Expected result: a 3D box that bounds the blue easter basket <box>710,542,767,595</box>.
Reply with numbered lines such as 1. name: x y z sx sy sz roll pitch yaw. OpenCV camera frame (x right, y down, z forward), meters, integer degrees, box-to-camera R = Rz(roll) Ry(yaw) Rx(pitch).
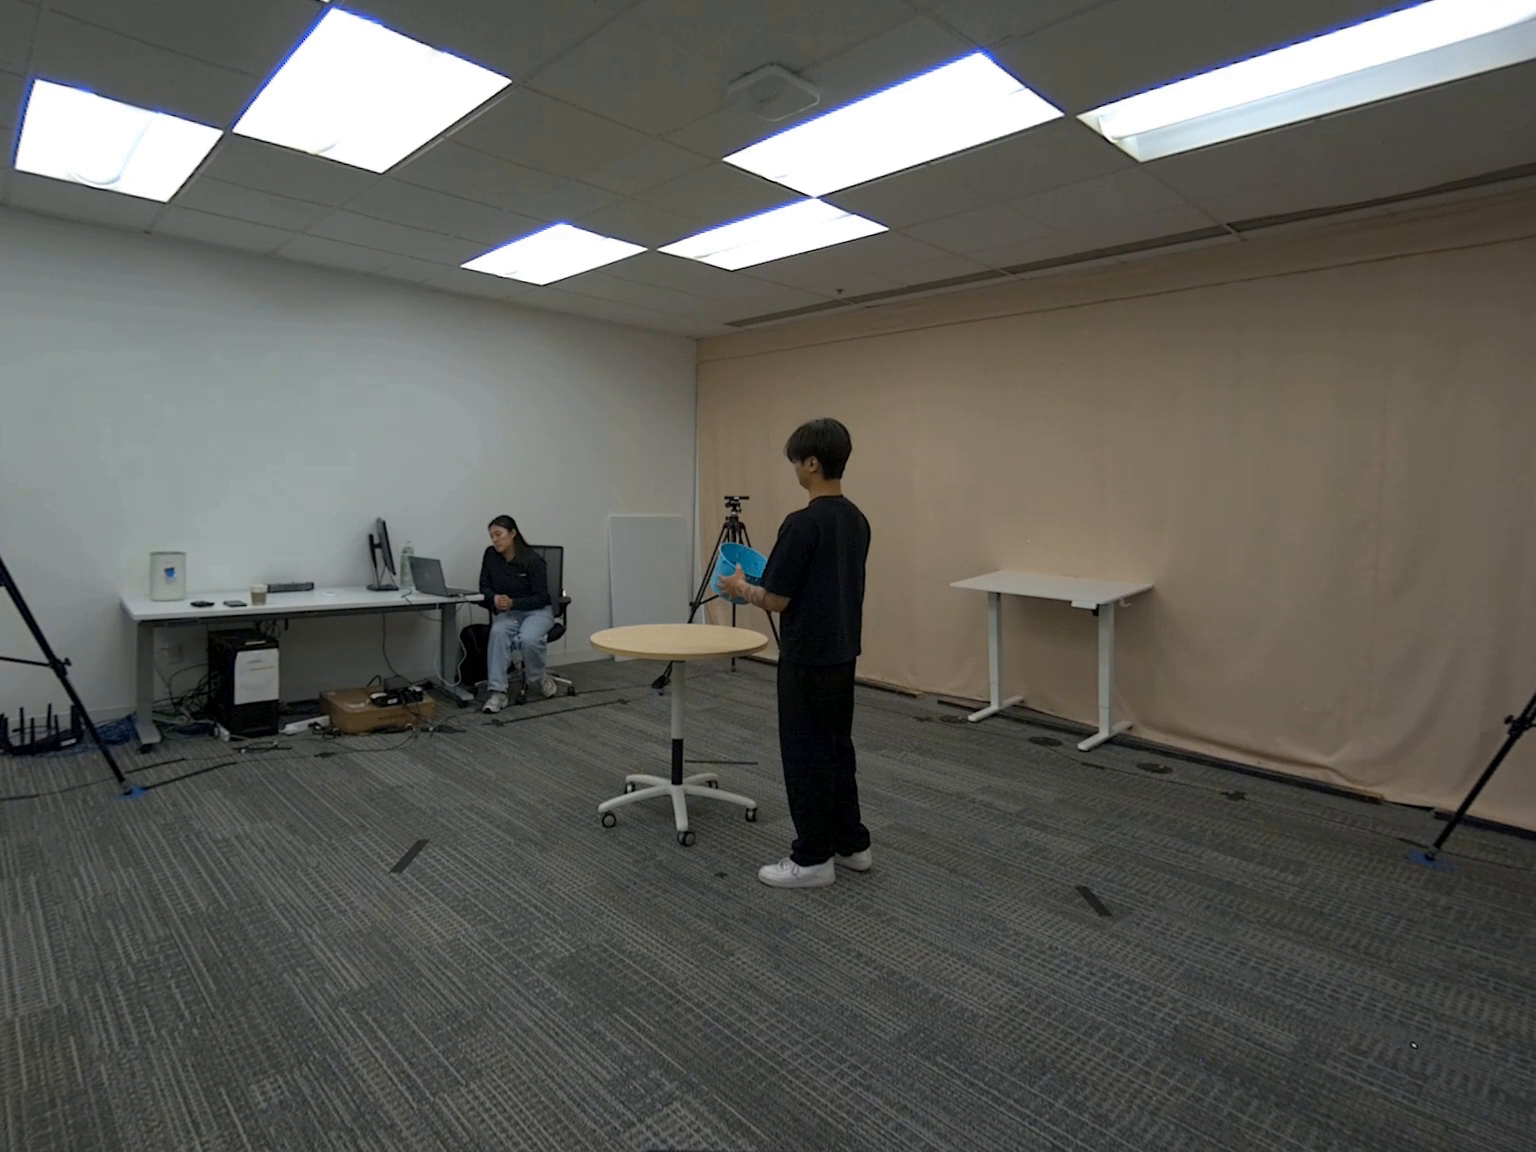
1. blue easter basket: -0.110 0.000 3.278 0.241 0.155 0.248 22 25 -12
